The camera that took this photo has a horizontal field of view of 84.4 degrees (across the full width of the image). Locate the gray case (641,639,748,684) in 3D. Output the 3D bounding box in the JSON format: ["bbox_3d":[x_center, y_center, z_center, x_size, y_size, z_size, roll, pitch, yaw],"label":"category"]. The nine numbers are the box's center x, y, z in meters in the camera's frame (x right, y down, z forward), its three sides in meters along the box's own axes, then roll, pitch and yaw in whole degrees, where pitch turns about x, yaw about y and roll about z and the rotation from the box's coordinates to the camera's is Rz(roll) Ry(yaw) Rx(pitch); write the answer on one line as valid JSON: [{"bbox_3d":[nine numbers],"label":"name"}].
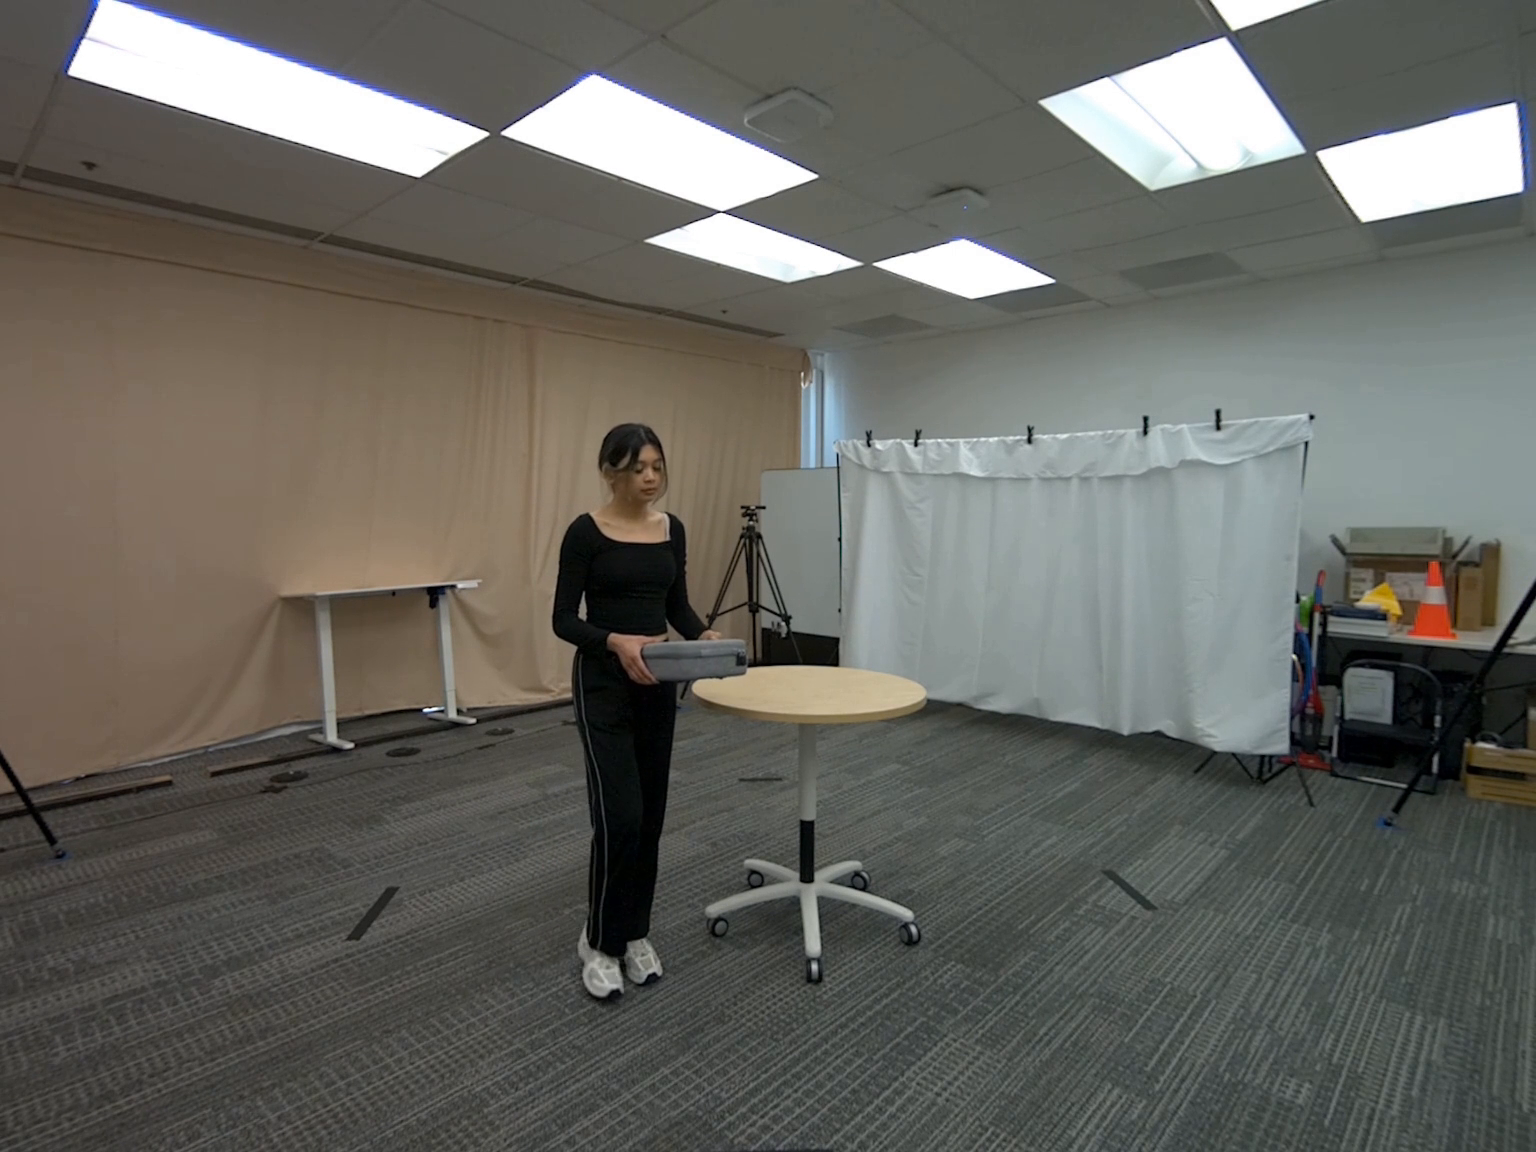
[{"bbox_3d":[-0.232,0.229,2.309,0.268,0.104,0.249,-6,-4,41],"label":"gray case"}]
